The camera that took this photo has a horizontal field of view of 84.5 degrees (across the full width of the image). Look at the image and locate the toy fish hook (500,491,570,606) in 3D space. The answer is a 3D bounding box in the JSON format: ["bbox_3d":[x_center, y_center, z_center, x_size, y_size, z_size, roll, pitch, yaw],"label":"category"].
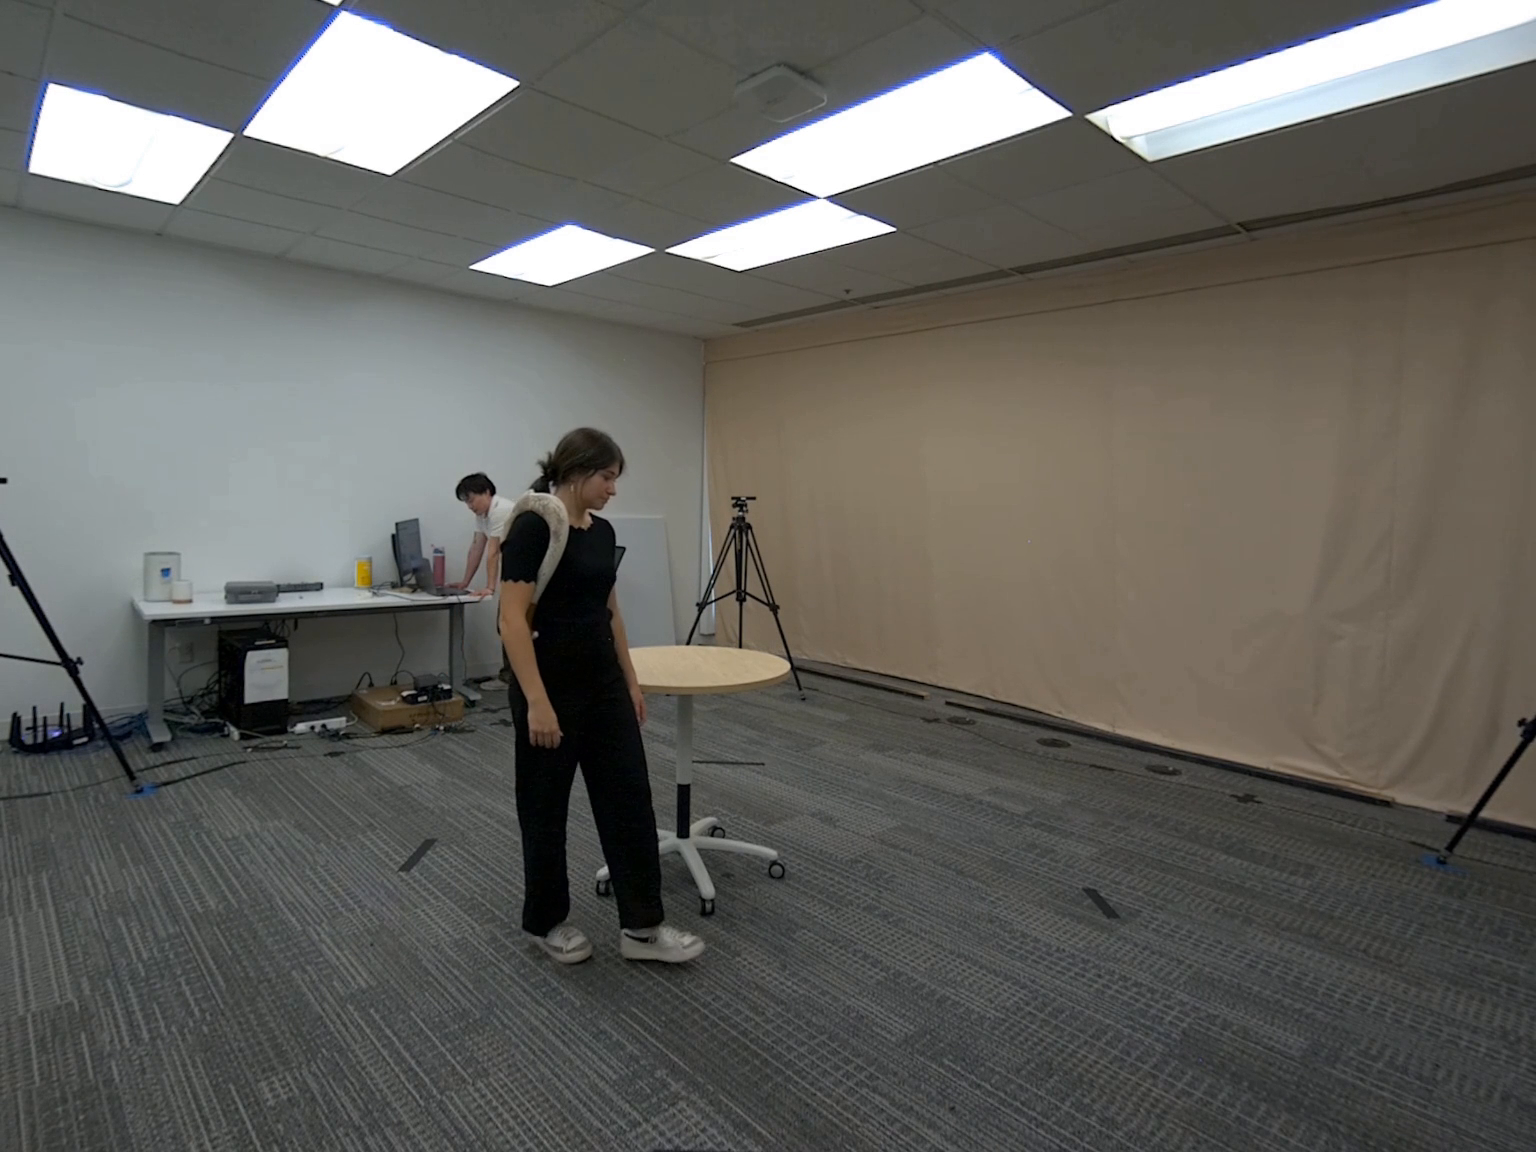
[{"bbox_3d":[-0.696,0.014,2.396,0.230,0.507,0.047,10,-1,31],"label":"toy fish hook"}]
